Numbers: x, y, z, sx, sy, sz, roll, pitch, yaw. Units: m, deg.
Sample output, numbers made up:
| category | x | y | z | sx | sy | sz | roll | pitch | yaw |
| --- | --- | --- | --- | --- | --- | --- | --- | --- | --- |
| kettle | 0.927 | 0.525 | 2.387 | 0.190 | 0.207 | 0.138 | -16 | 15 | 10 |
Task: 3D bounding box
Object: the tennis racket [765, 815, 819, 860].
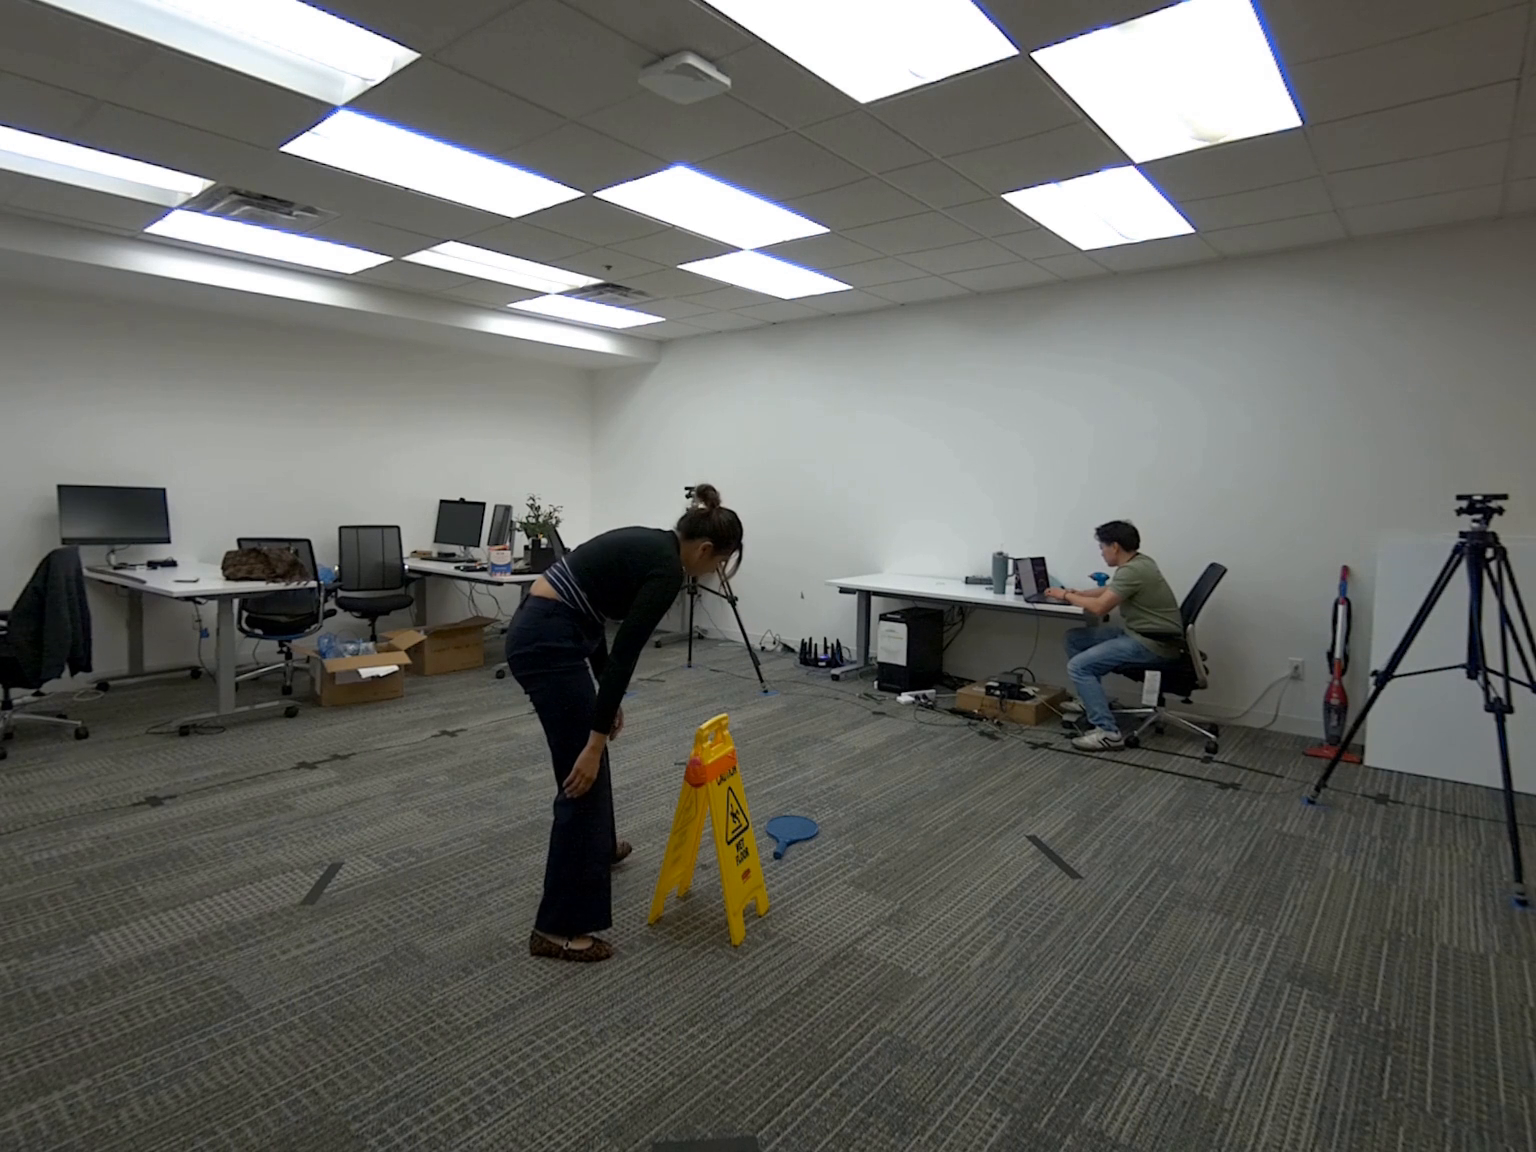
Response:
| category | x | y | z | sx | sy | sz | roll | pitch | yaw |
| --- | --- | --- | --- | --- | --- | --- | --- | --- | --- |
| tennis racket | 0.070 | 1.029 | 3.393 | 0.217 | 0.032 | 0.427 | 2 | 4 | 14 |
